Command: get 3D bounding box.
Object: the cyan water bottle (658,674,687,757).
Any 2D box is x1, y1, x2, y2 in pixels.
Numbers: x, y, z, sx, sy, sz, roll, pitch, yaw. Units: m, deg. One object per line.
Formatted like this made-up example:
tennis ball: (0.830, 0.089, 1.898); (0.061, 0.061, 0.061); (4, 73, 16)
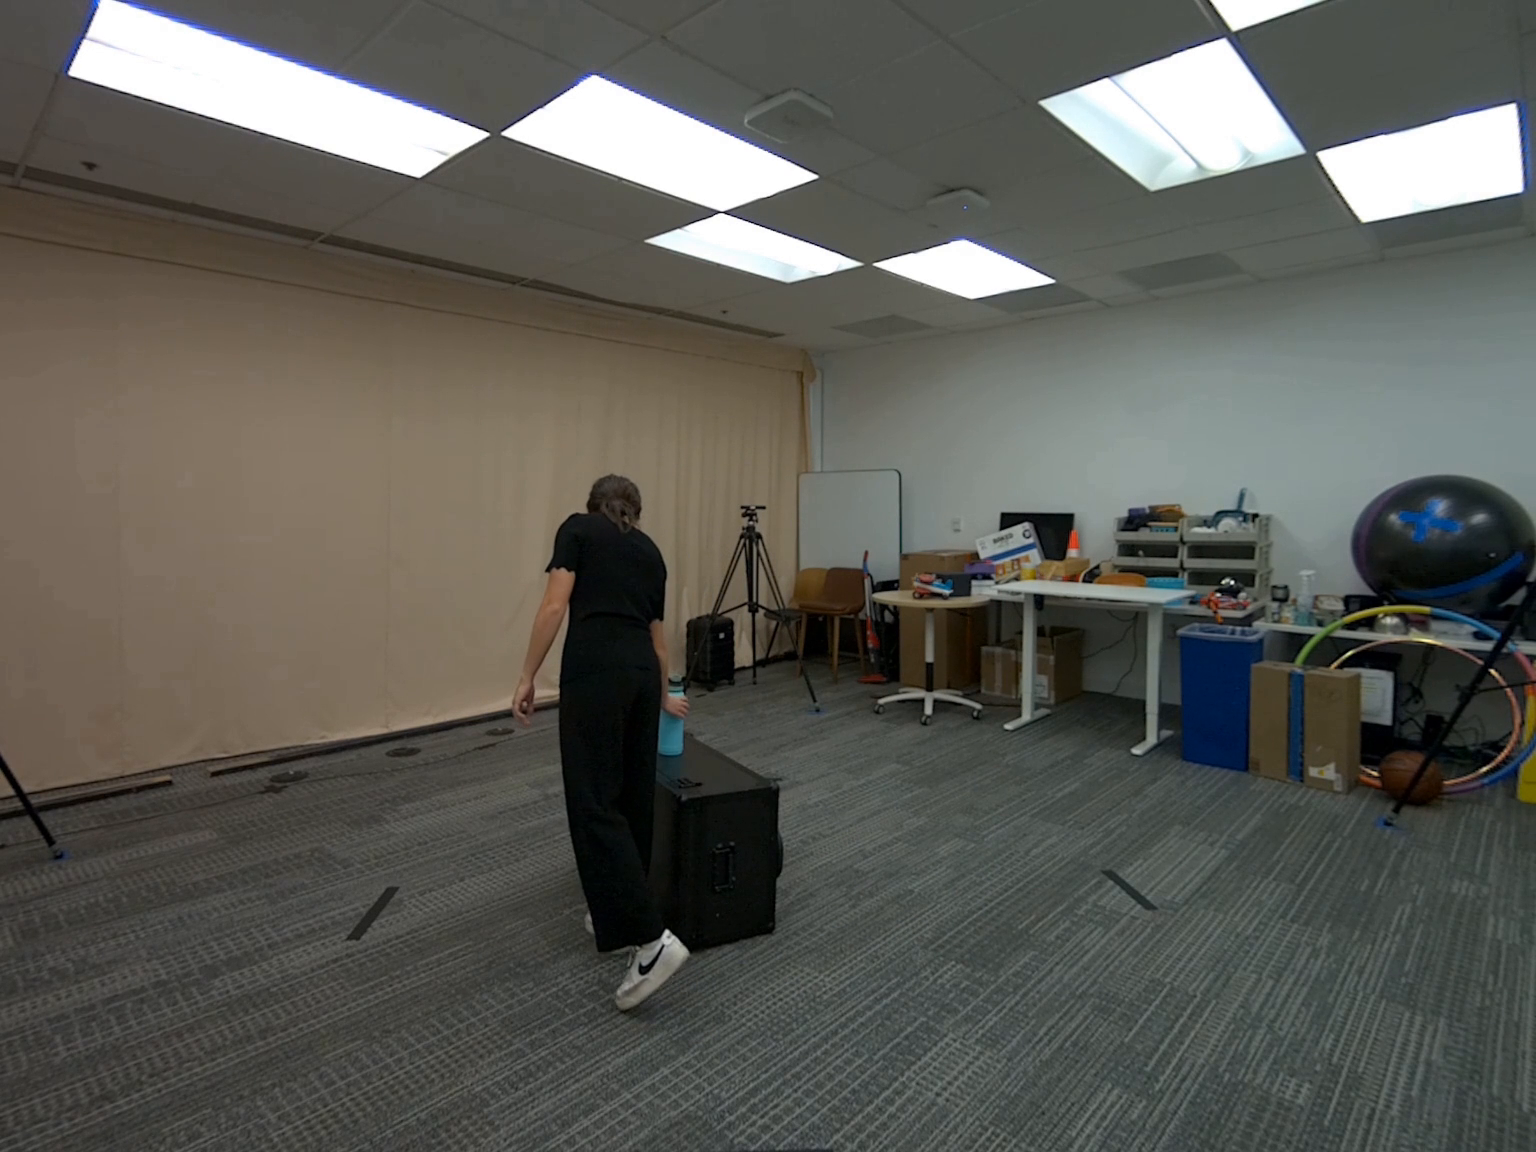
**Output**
cyan water bottle: (-0.354, 0.512, 3.098); (0.092, 0.283, 0.092); (0, -1, -2)
